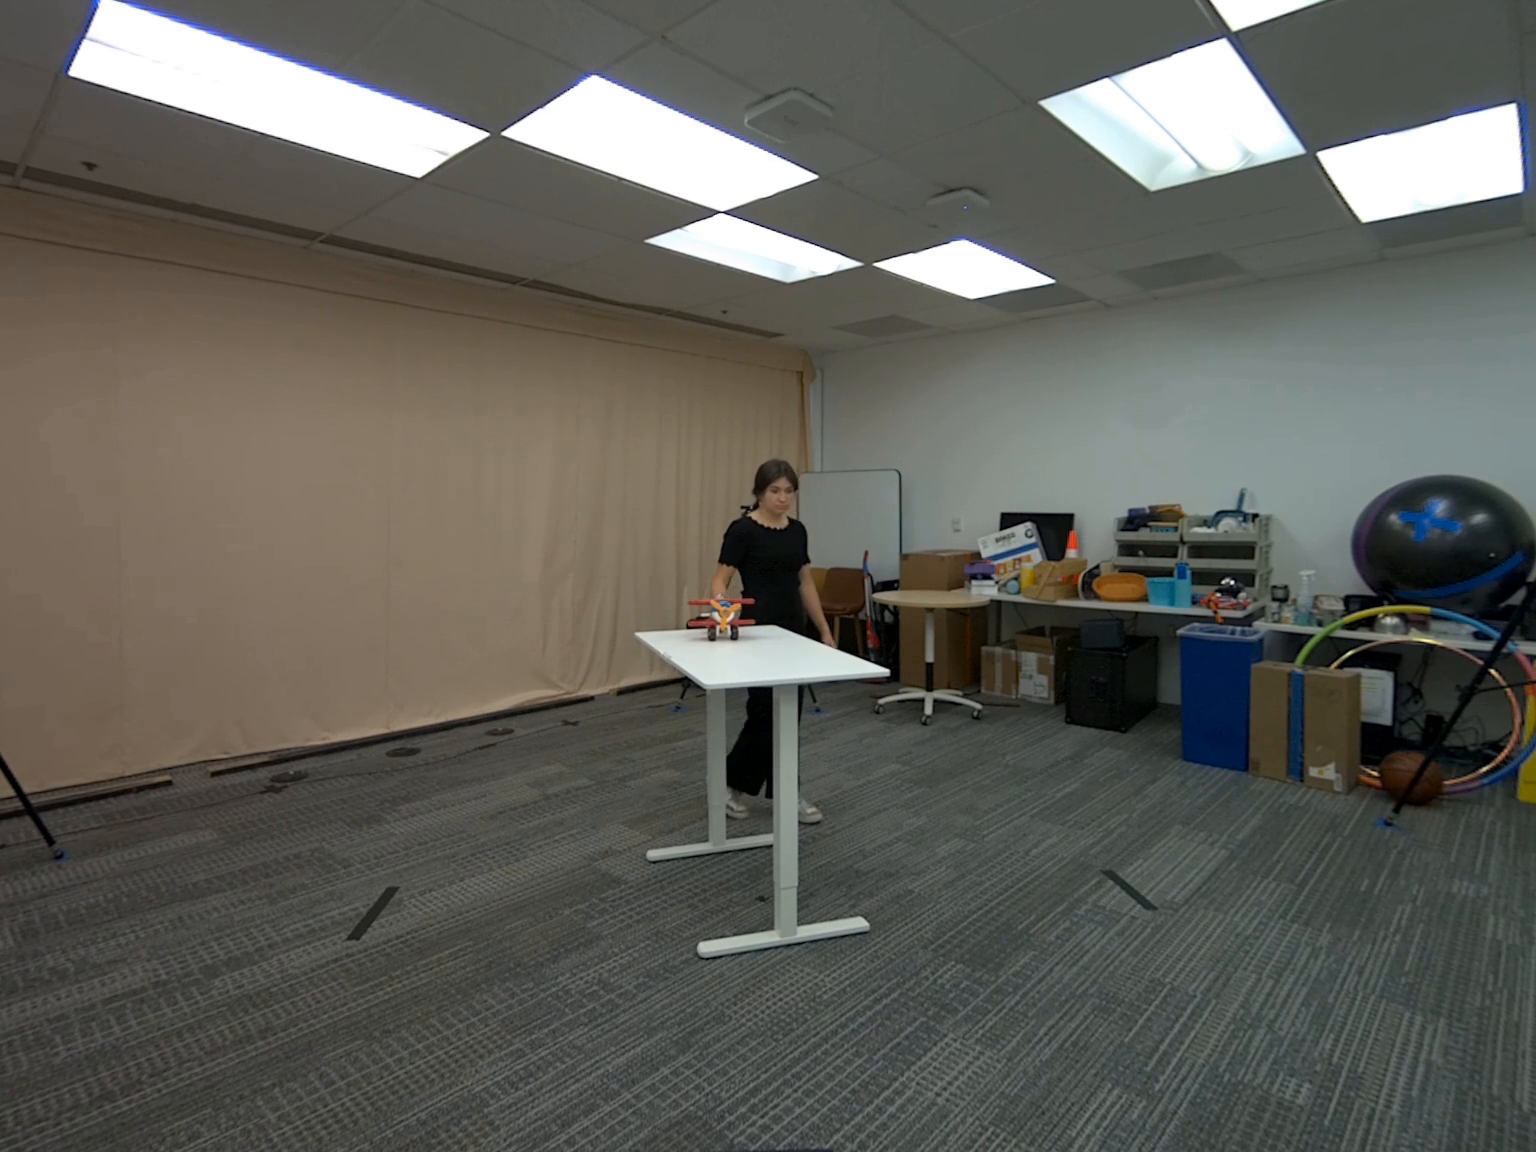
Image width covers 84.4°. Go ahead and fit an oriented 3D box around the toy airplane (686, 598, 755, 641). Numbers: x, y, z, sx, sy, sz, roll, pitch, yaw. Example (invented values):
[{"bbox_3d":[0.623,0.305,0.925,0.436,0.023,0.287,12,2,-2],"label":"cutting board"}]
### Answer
[{"bbox_3d":[-0.205,0.154,3.261,0.244,0.155,0.268,-6,11,-36],"label":"toy airplane"}]
